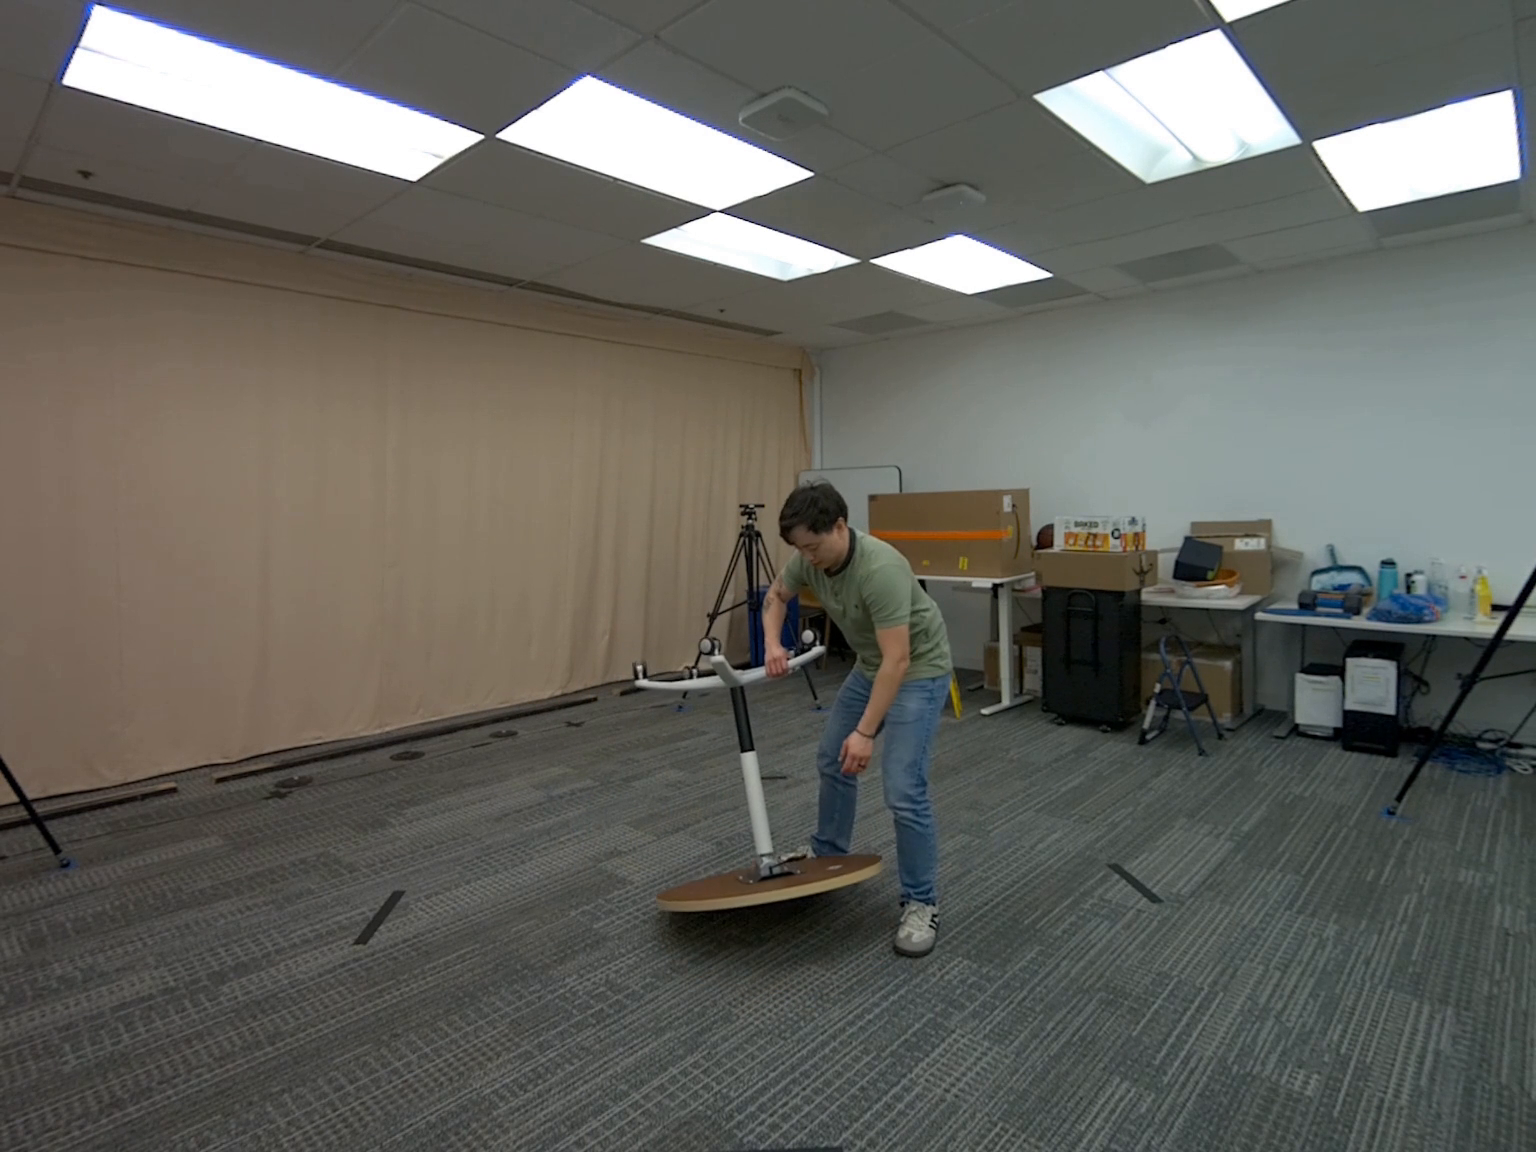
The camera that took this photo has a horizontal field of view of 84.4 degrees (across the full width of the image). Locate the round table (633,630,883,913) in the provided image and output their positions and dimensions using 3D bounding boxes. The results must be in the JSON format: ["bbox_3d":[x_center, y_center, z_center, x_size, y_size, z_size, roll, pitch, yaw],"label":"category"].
[{"bbox_3d":[-0.068,0.645,2.902,0.761,0.803,0.758,-10,-14,-4],"label":"round table"}]
